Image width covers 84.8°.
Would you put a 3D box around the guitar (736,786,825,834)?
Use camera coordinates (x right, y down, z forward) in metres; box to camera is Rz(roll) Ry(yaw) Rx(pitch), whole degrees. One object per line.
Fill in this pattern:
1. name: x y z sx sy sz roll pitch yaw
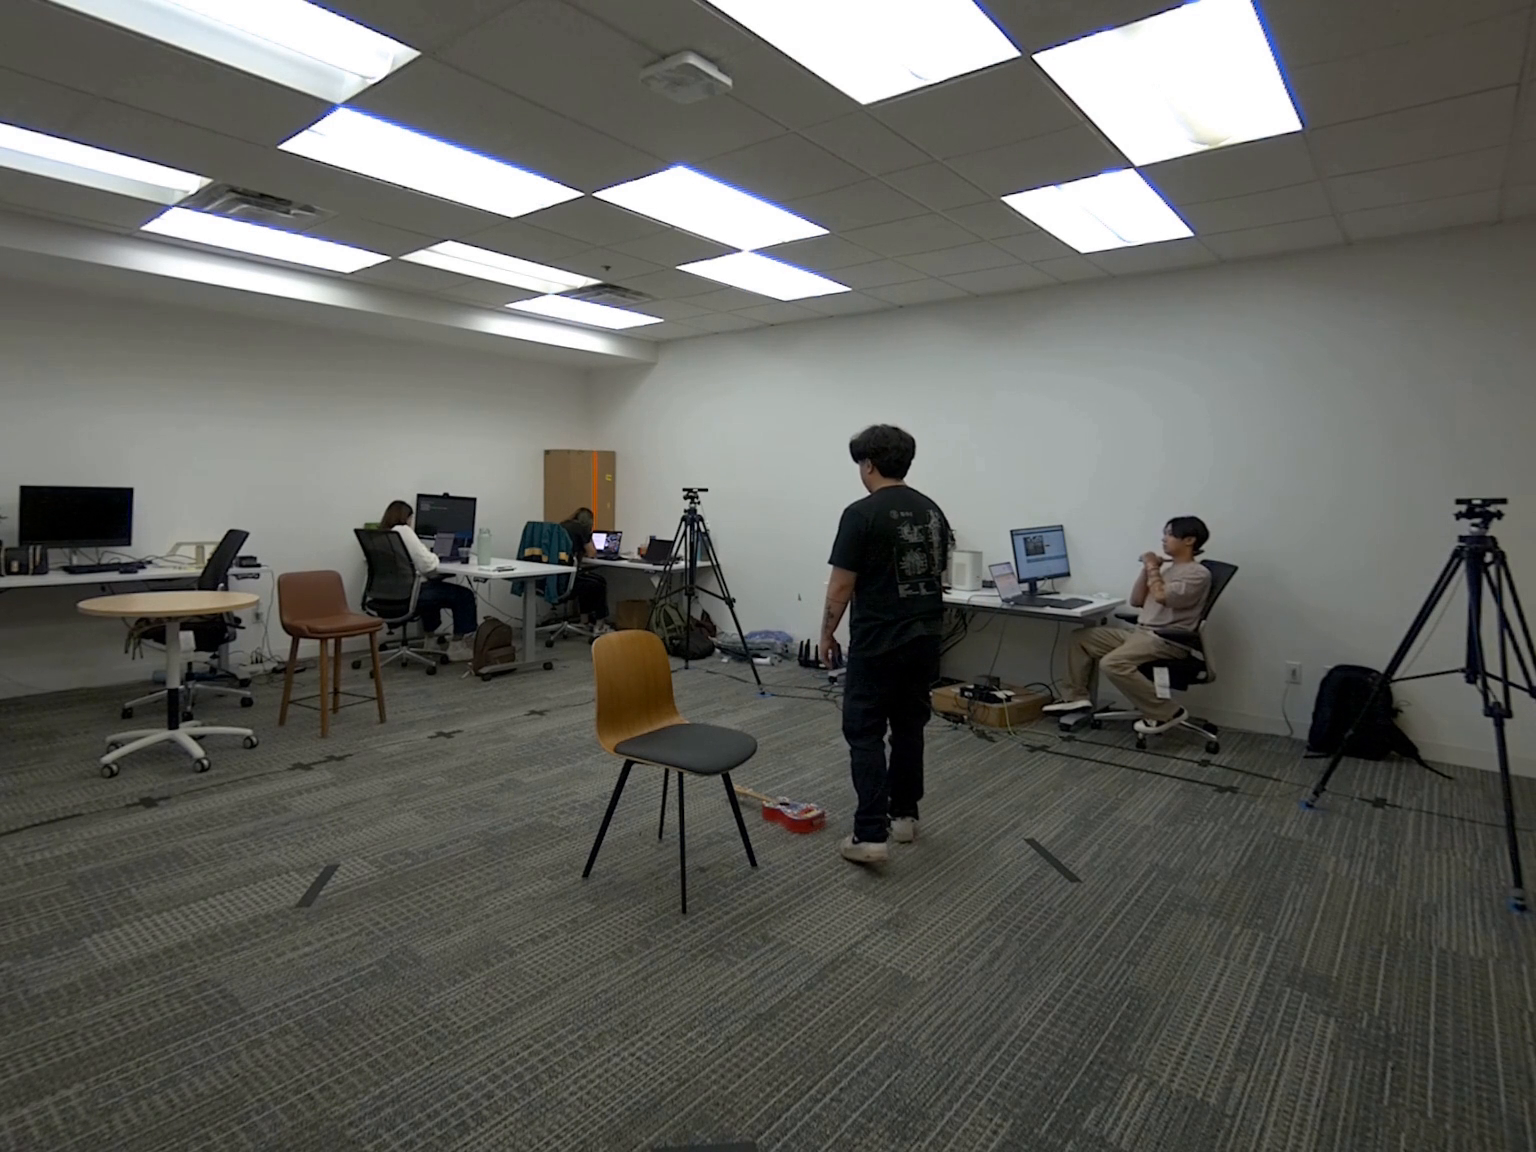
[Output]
1. guitar: 0.025 0.985 3.685 0.187 0.070 0.515 -4 8 -40
